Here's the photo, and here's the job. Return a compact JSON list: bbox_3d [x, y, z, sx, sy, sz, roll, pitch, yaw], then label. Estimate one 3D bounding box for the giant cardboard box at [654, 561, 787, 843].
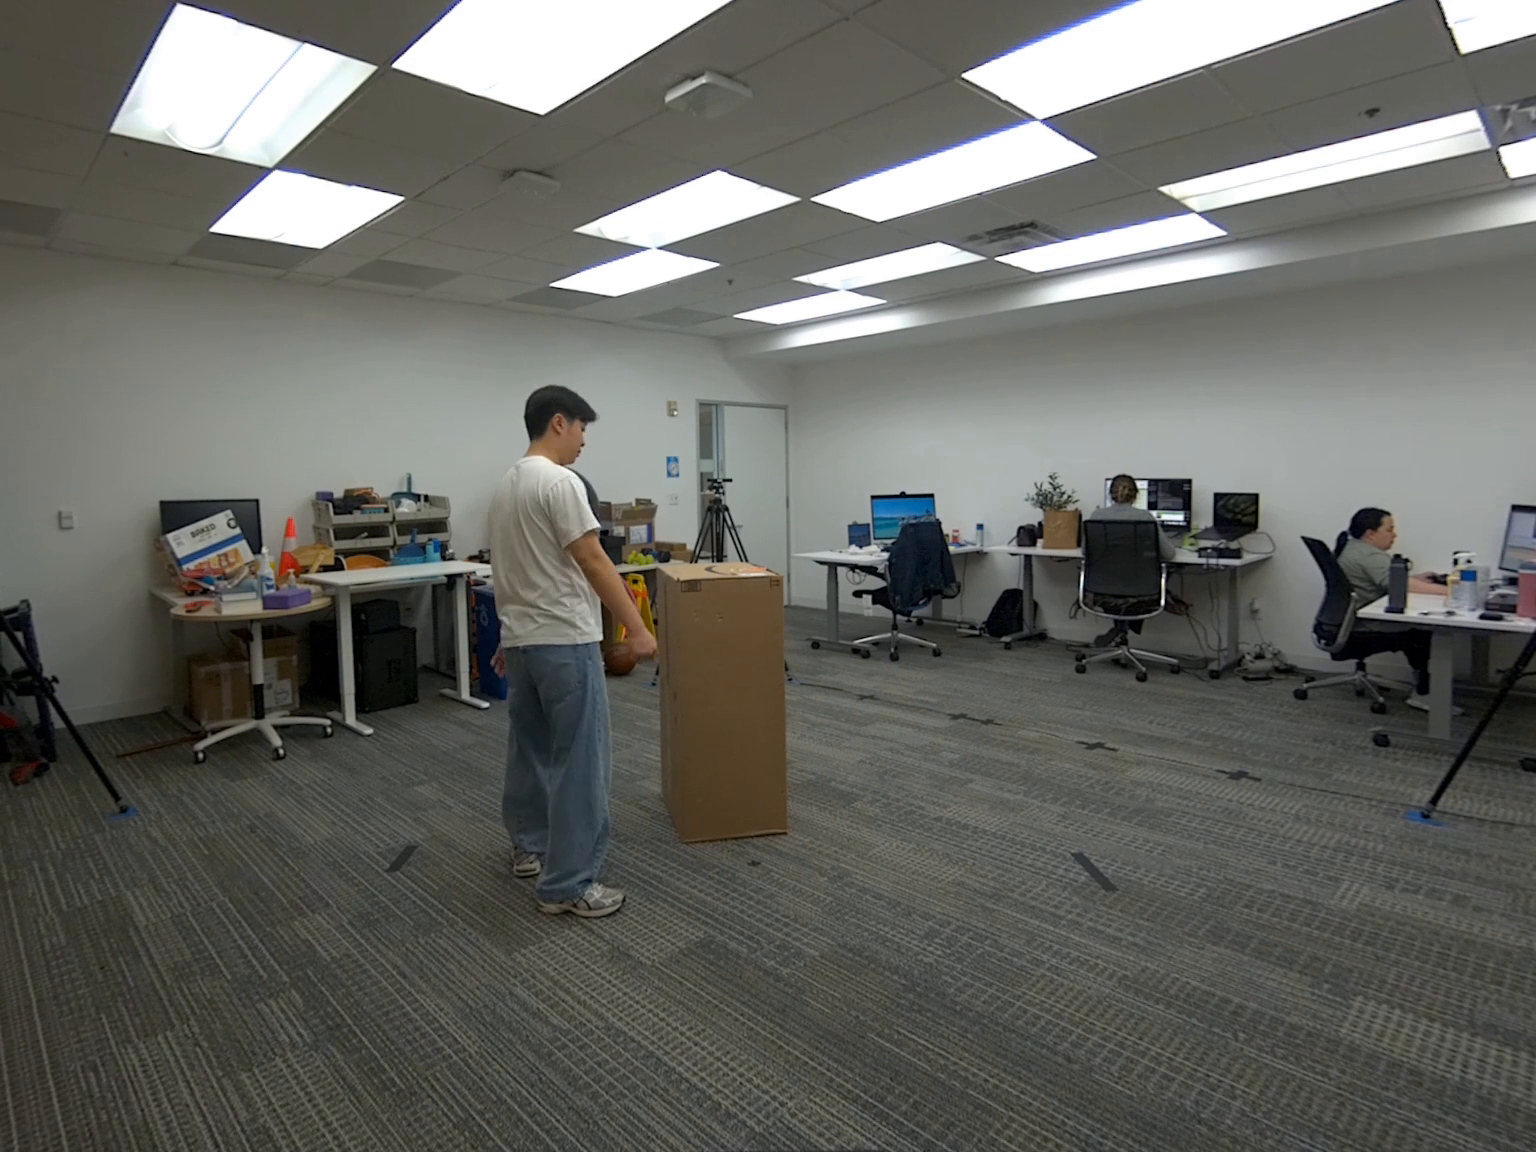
[{"bbox_3d":[-0.206,0.486,3.570,0.420,1.023,0.588,-2,4,-16],"label":"giant cardboard box"}]
